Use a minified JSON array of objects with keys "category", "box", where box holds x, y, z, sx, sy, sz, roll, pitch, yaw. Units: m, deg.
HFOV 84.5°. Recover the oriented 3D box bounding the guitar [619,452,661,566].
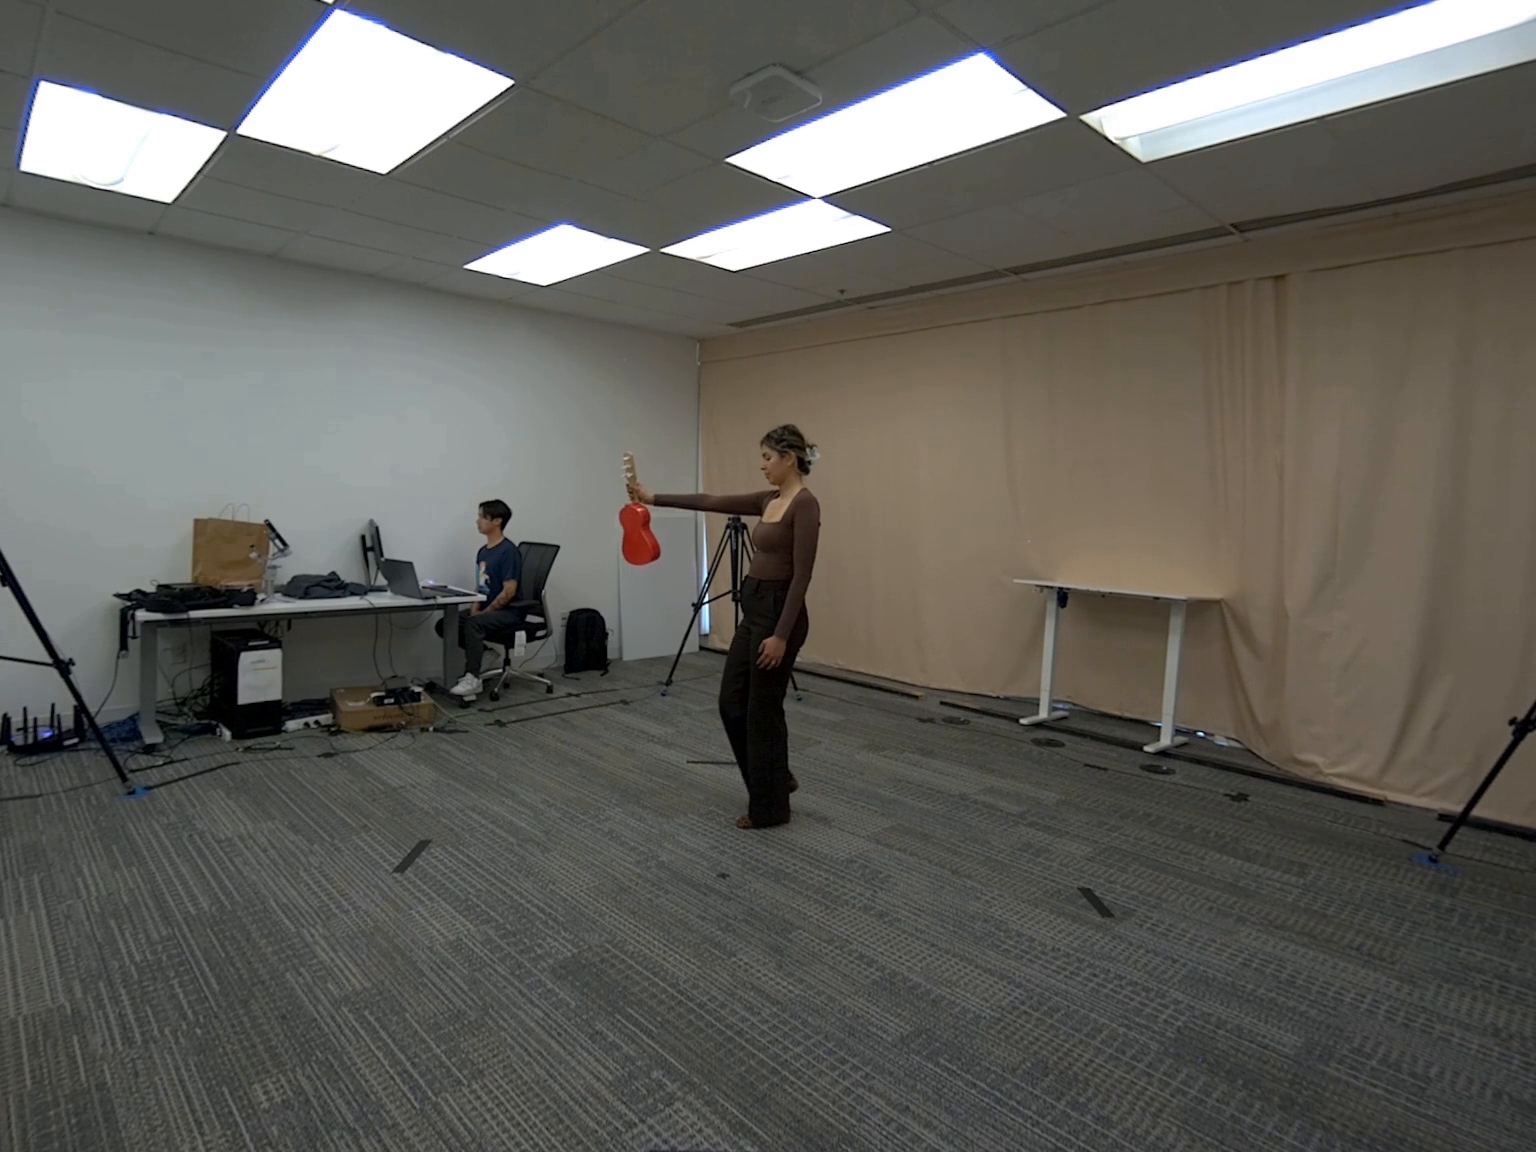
[{"category":"guitar","box":[-0.622,-0.292,3.761,0.196,0.497,0.069,-14,2,43]}]
